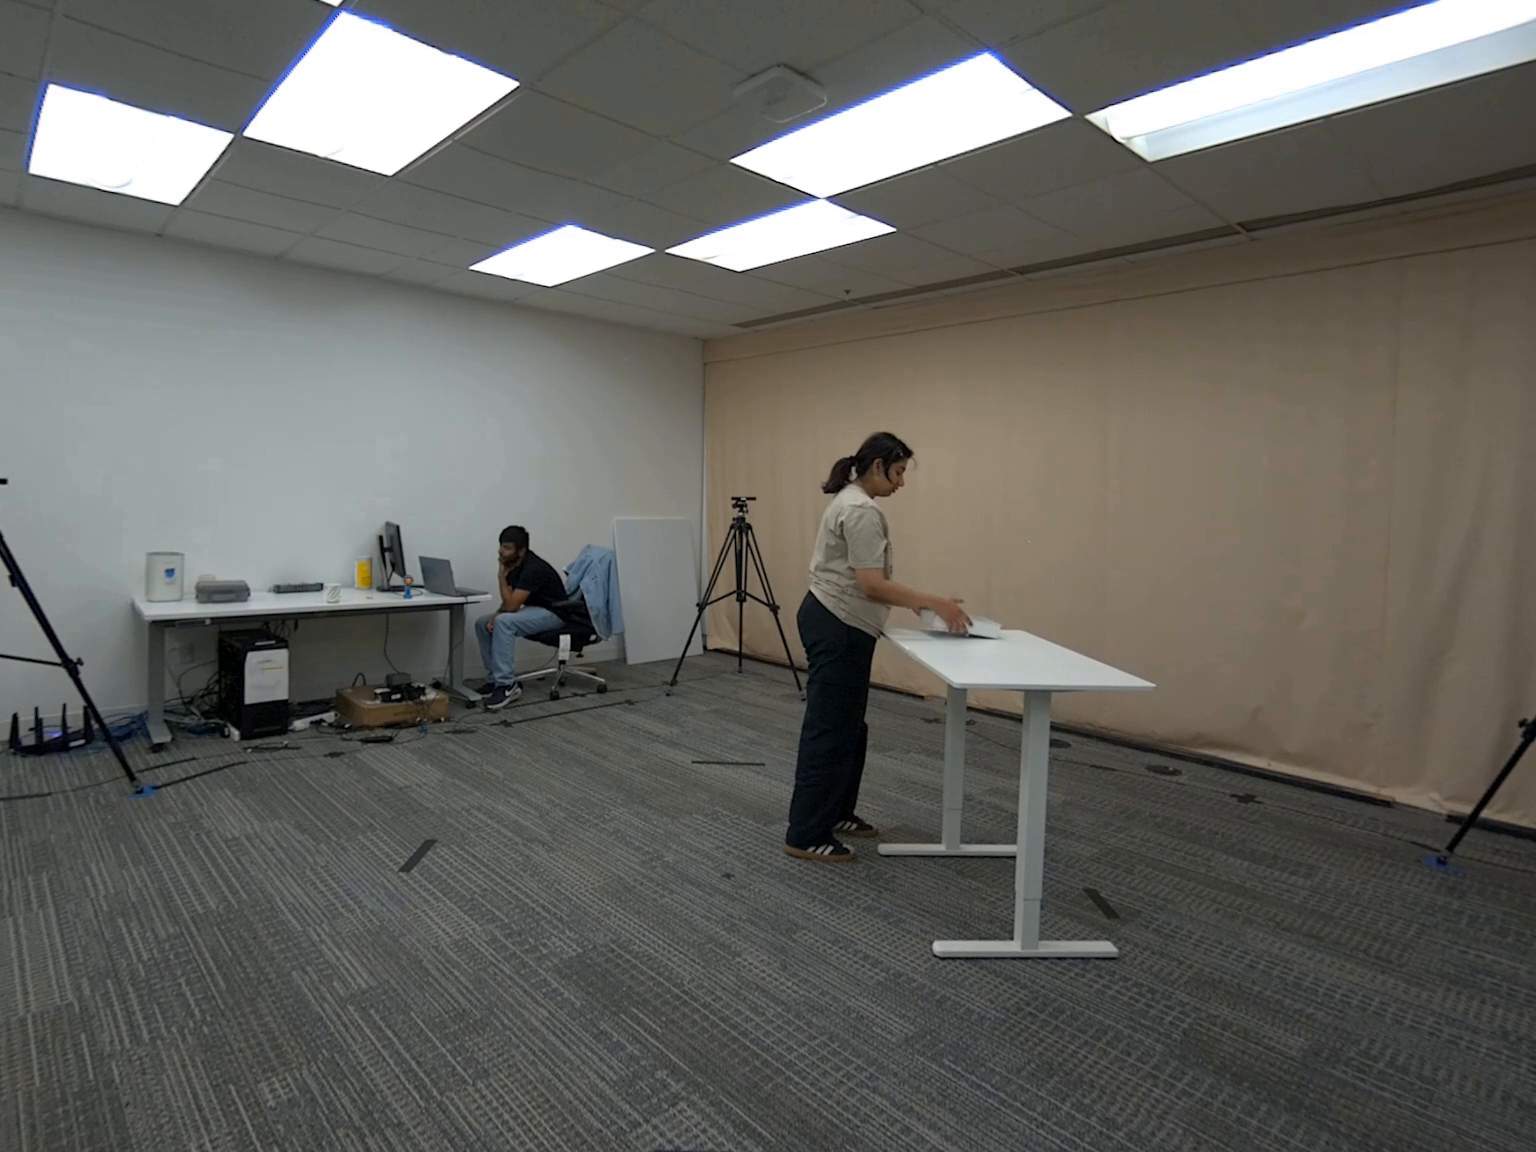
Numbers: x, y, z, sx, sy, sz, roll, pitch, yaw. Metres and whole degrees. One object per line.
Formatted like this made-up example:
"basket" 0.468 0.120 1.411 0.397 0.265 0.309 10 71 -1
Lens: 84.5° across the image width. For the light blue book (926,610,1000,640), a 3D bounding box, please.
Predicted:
"light blue book" 0.790 0.179 3.302 0.190 0.059 0.263 9 2 -7
